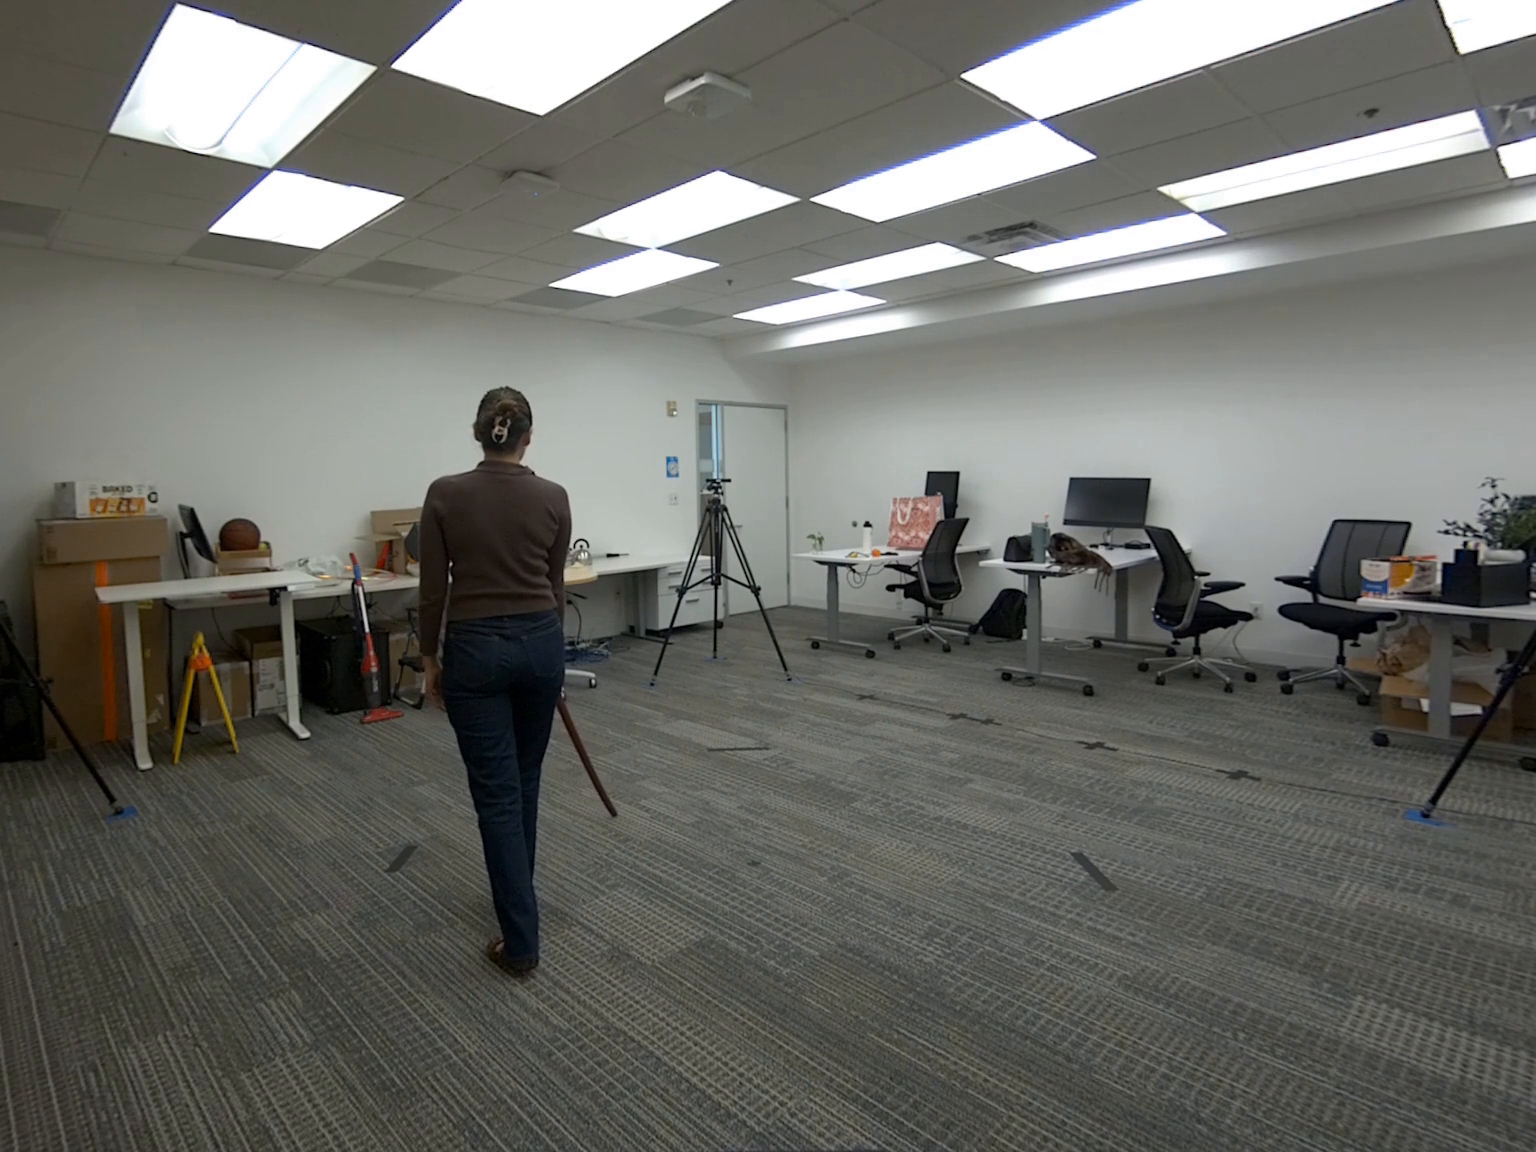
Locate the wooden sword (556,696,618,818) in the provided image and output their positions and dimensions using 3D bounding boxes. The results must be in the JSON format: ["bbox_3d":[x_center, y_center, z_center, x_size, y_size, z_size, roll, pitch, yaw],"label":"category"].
[{"bbox_3d":[-0.701,0.667,3.247,0.051,0.993,0.025,-12,44,-4],"label":"wooden sword"}]
